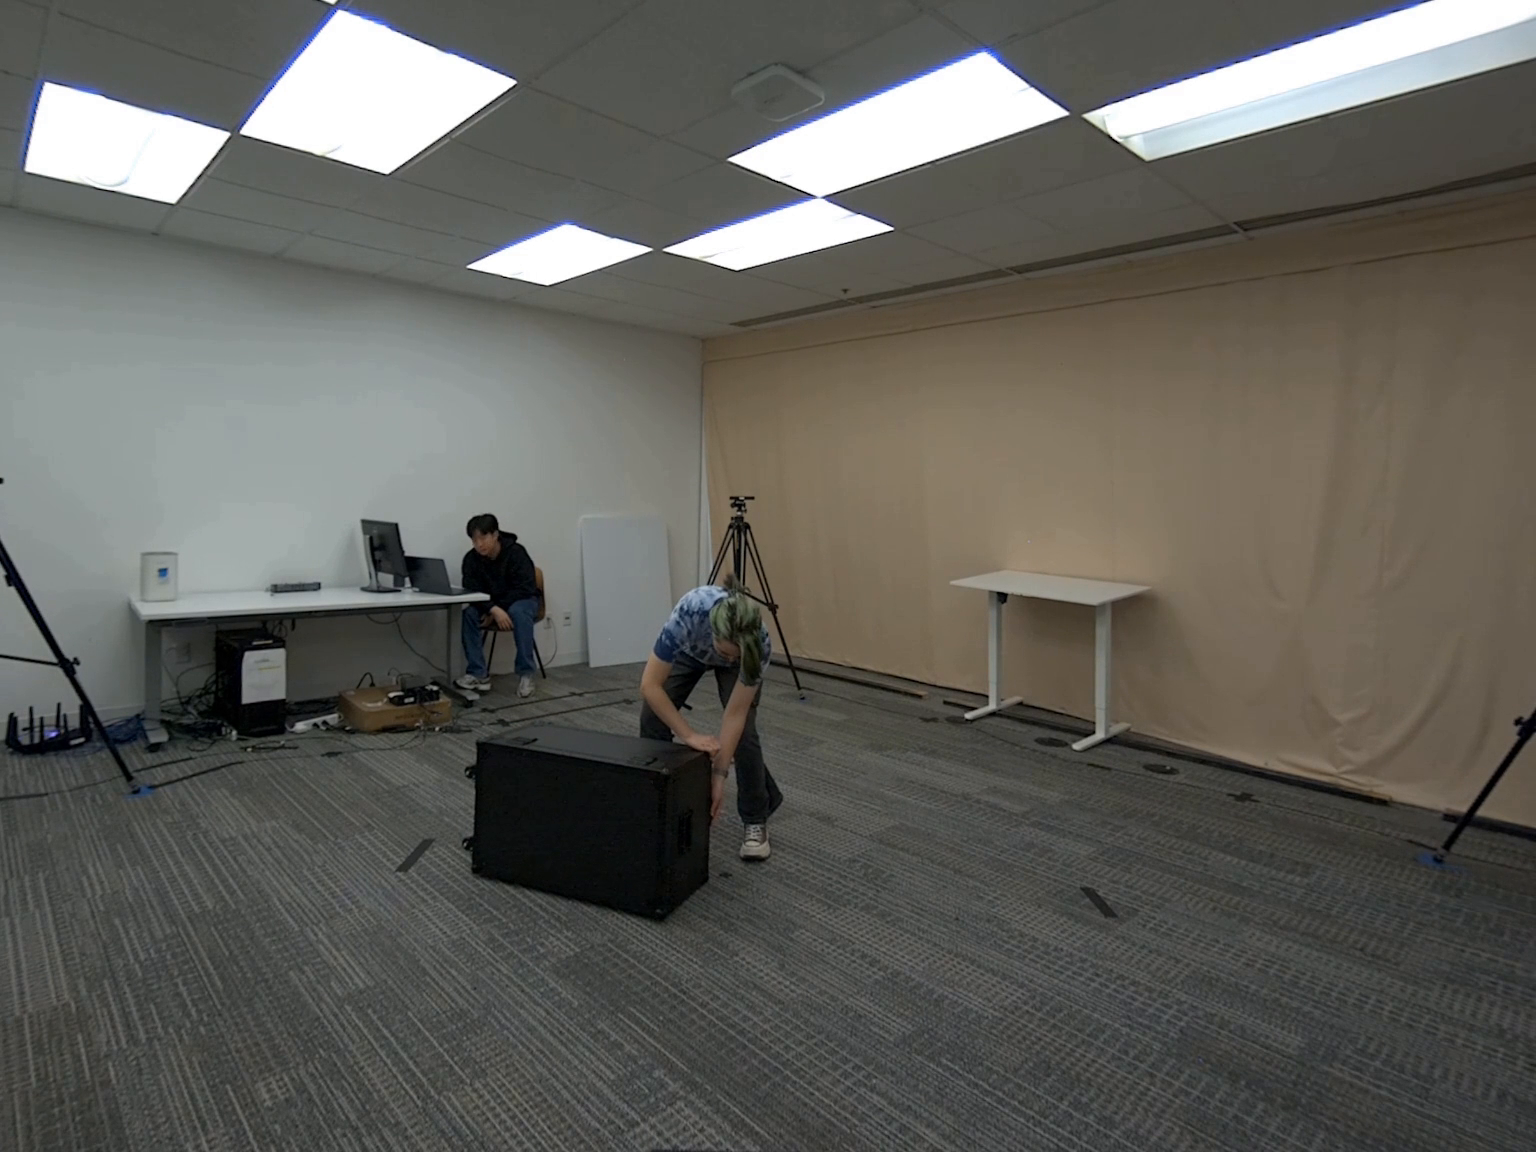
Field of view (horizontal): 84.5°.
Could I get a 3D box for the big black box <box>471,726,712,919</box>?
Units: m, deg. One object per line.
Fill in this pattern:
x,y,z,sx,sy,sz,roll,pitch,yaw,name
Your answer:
-0.665,0.839,3.064,0.877,0.520,0.389,4,2,23,big black box
